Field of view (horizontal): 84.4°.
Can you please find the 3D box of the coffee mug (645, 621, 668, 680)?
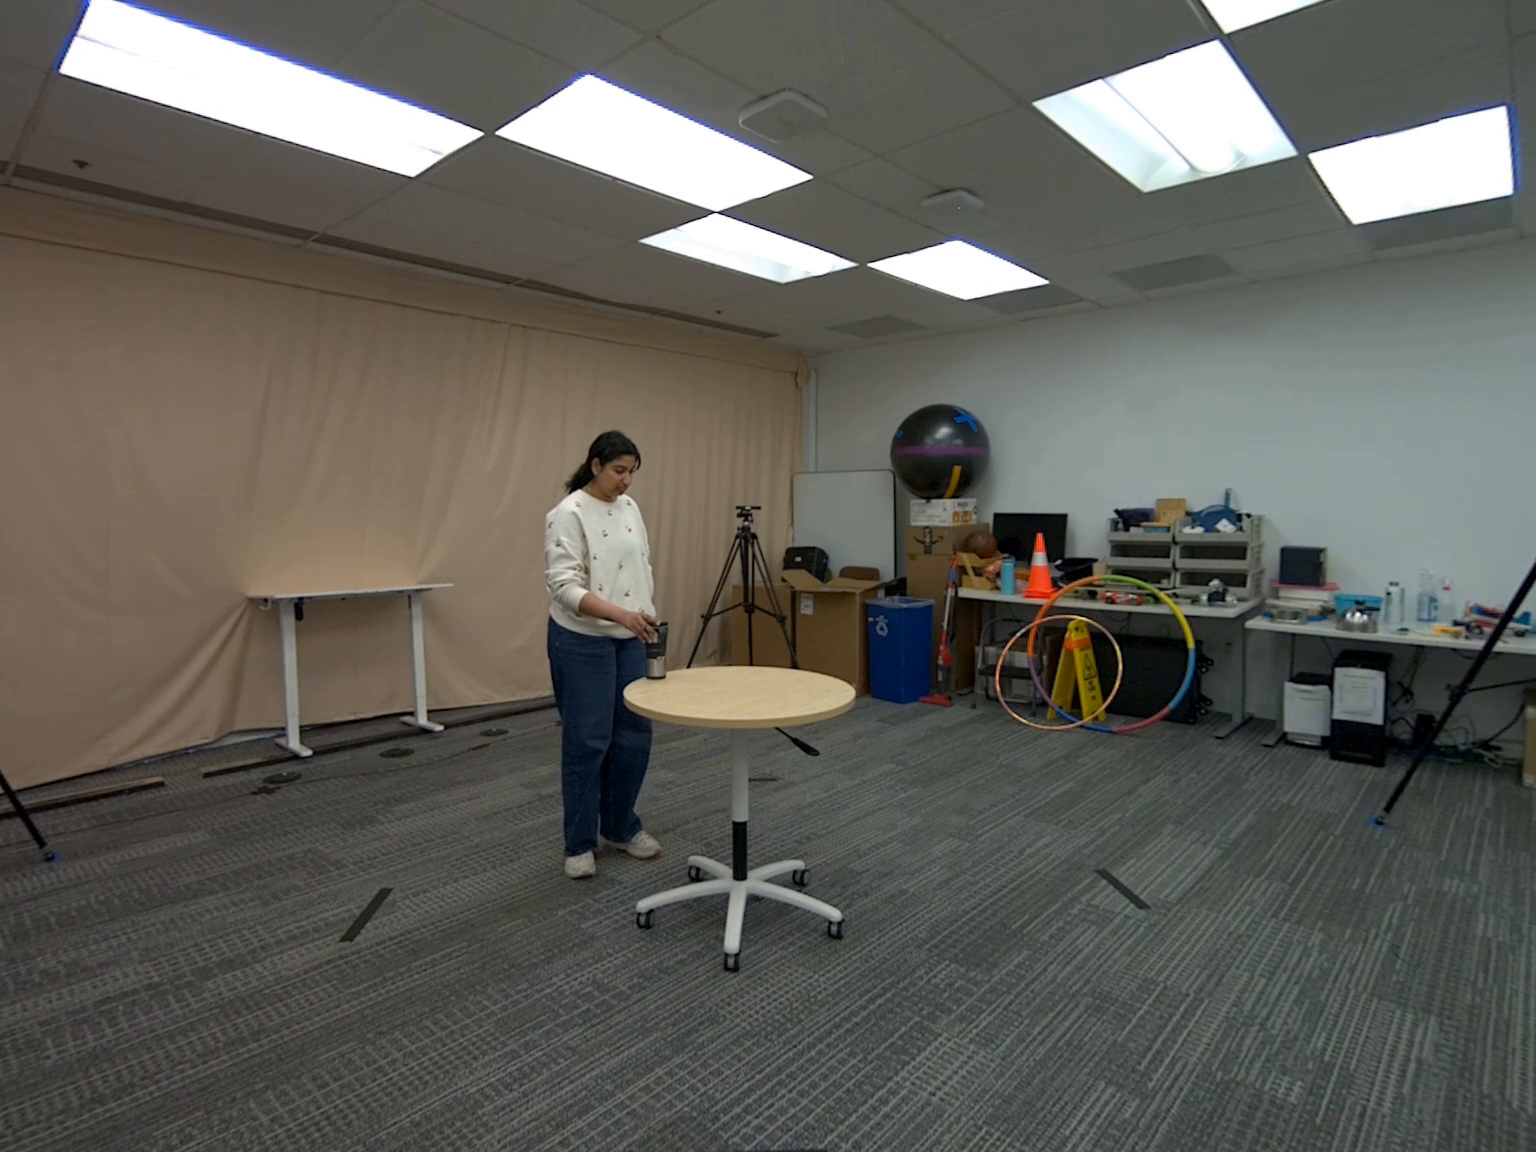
[{"bbox_3d":[-0.397,0.264,2.949,0.087,0.203,0.123,2,1,-8],"label":"coffee mug"}]
